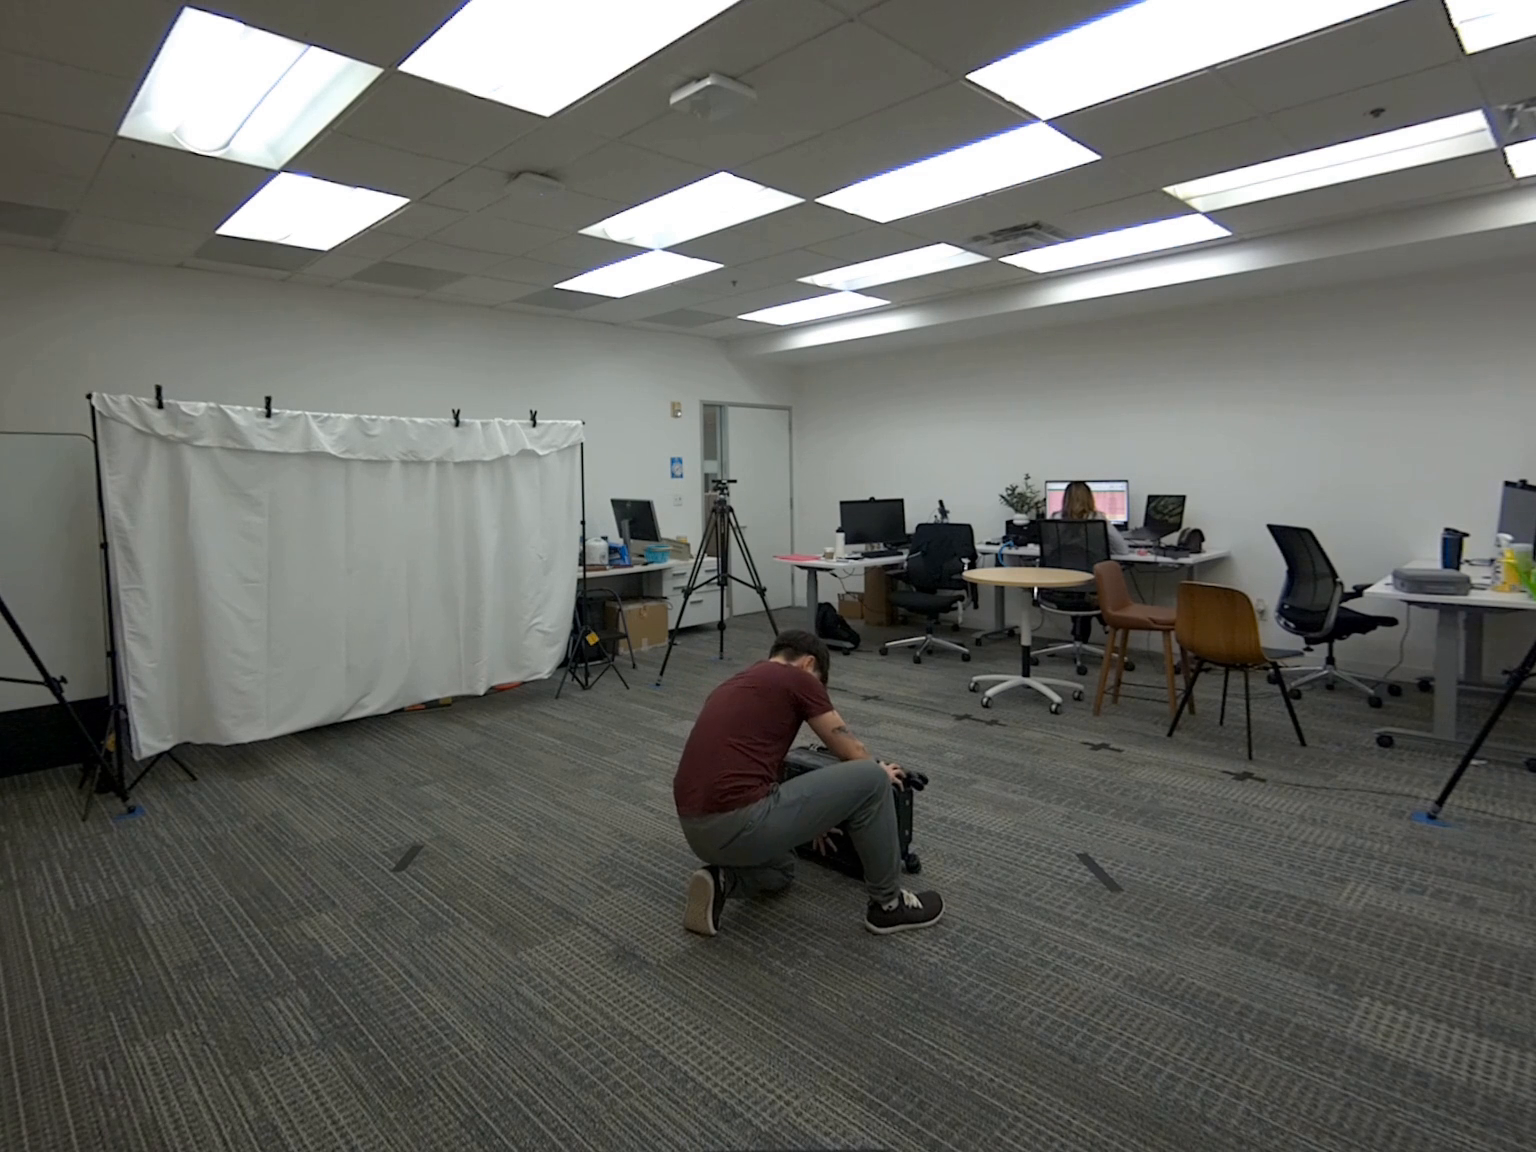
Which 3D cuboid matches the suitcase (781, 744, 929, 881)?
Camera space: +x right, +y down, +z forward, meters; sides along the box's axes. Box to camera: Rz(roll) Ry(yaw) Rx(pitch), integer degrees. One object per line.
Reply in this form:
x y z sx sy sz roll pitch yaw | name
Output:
0.123 0.837 3.290 1.008 0.384 0.249 4 1 42 | suitcase
